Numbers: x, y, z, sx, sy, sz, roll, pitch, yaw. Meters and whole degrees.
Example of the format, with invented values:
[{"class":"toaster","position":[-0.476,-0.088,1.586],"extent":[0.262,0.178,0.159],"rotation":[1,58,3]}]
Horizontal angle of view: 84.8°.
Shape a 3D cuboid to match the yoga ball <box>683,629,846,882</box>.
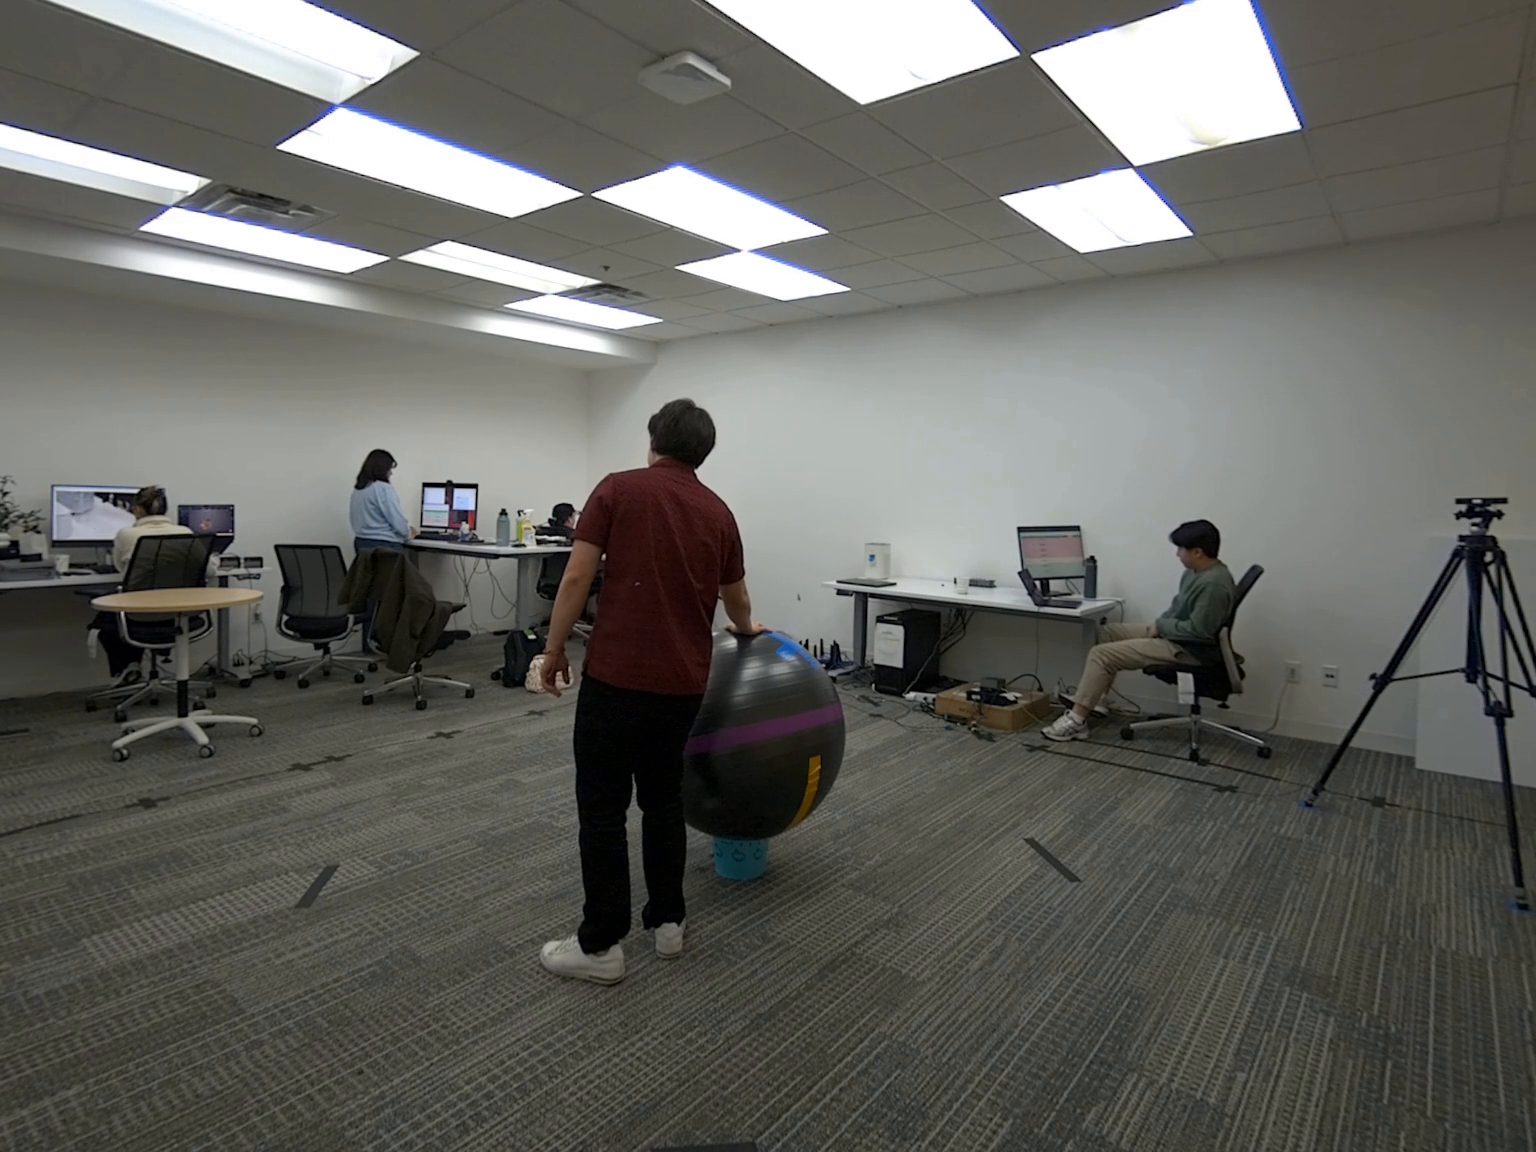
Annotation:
[{"class":"yoga ball","position":[-0.113,0.564,3.102],"extent":[0.757,0.755,0.762],"rotation":[1,4,-2]}]
